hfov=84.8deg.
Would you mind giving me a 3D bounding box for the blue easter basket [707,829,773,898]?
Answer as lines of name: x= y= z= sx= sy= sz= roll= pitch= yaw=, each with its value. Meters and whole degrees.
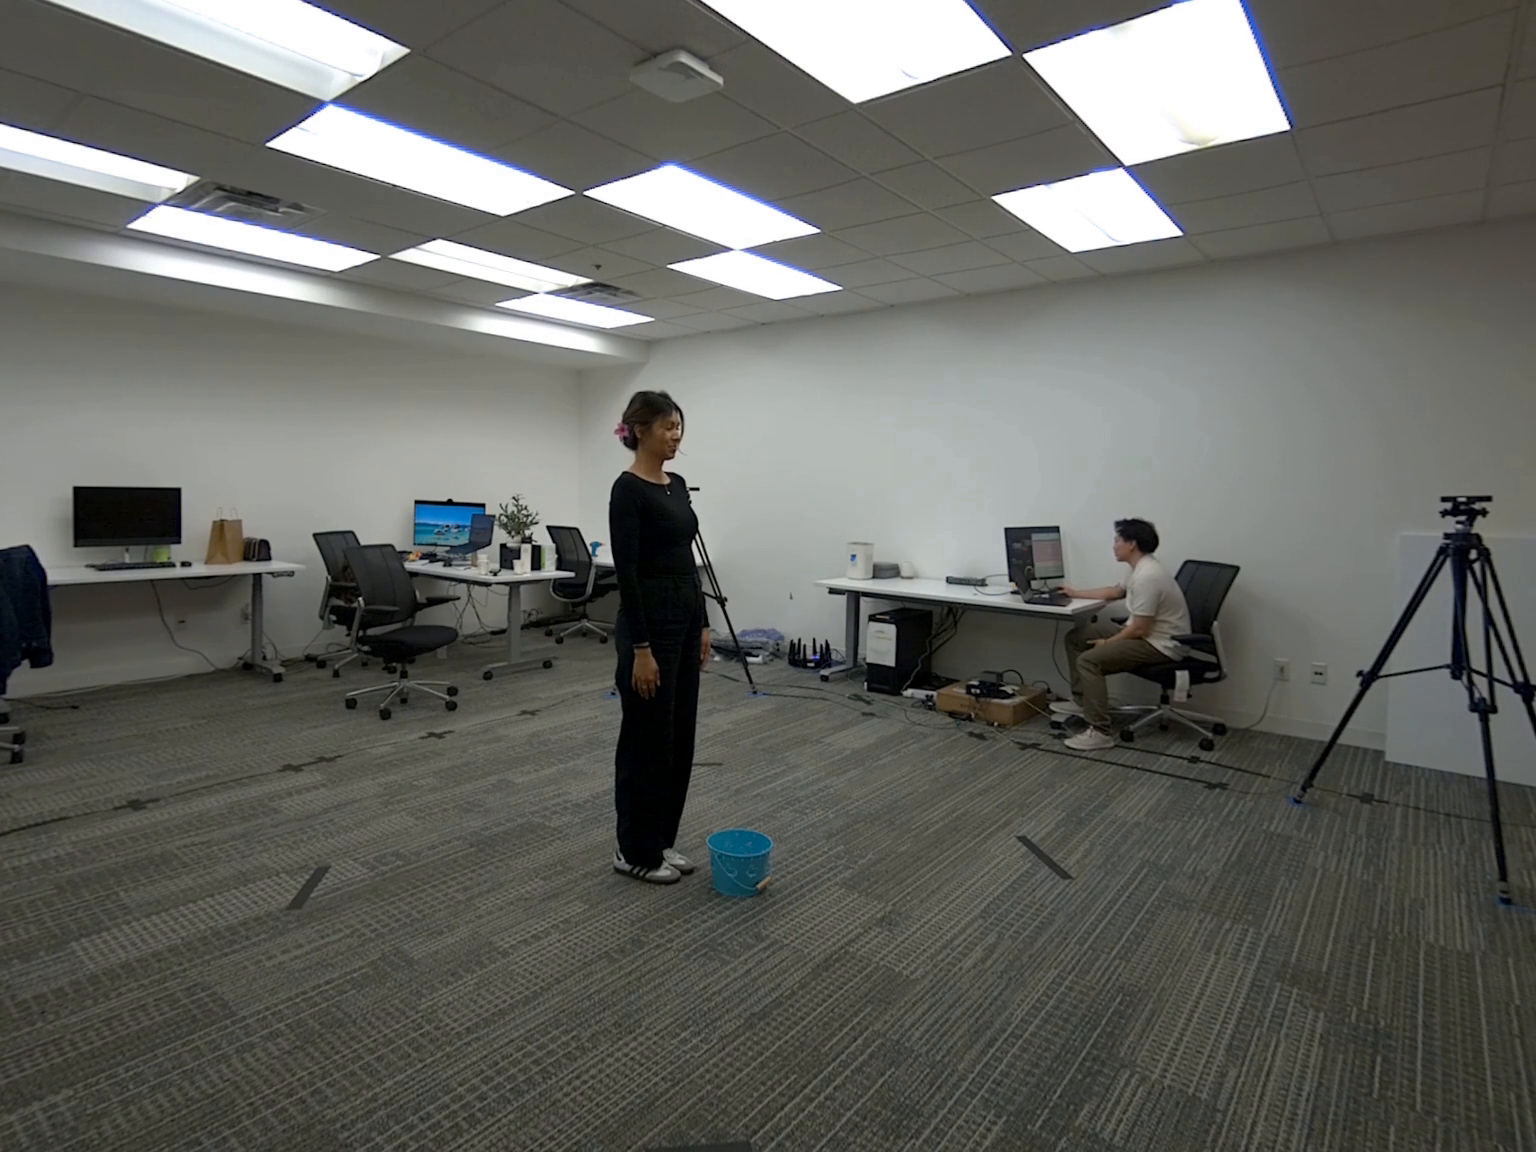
blue easter basket: x=-0.108 y=1.005 z=2.977 sx=0.243 sy=0.155 sz=0.245 roll=1 pitch=4 yaw=-2
